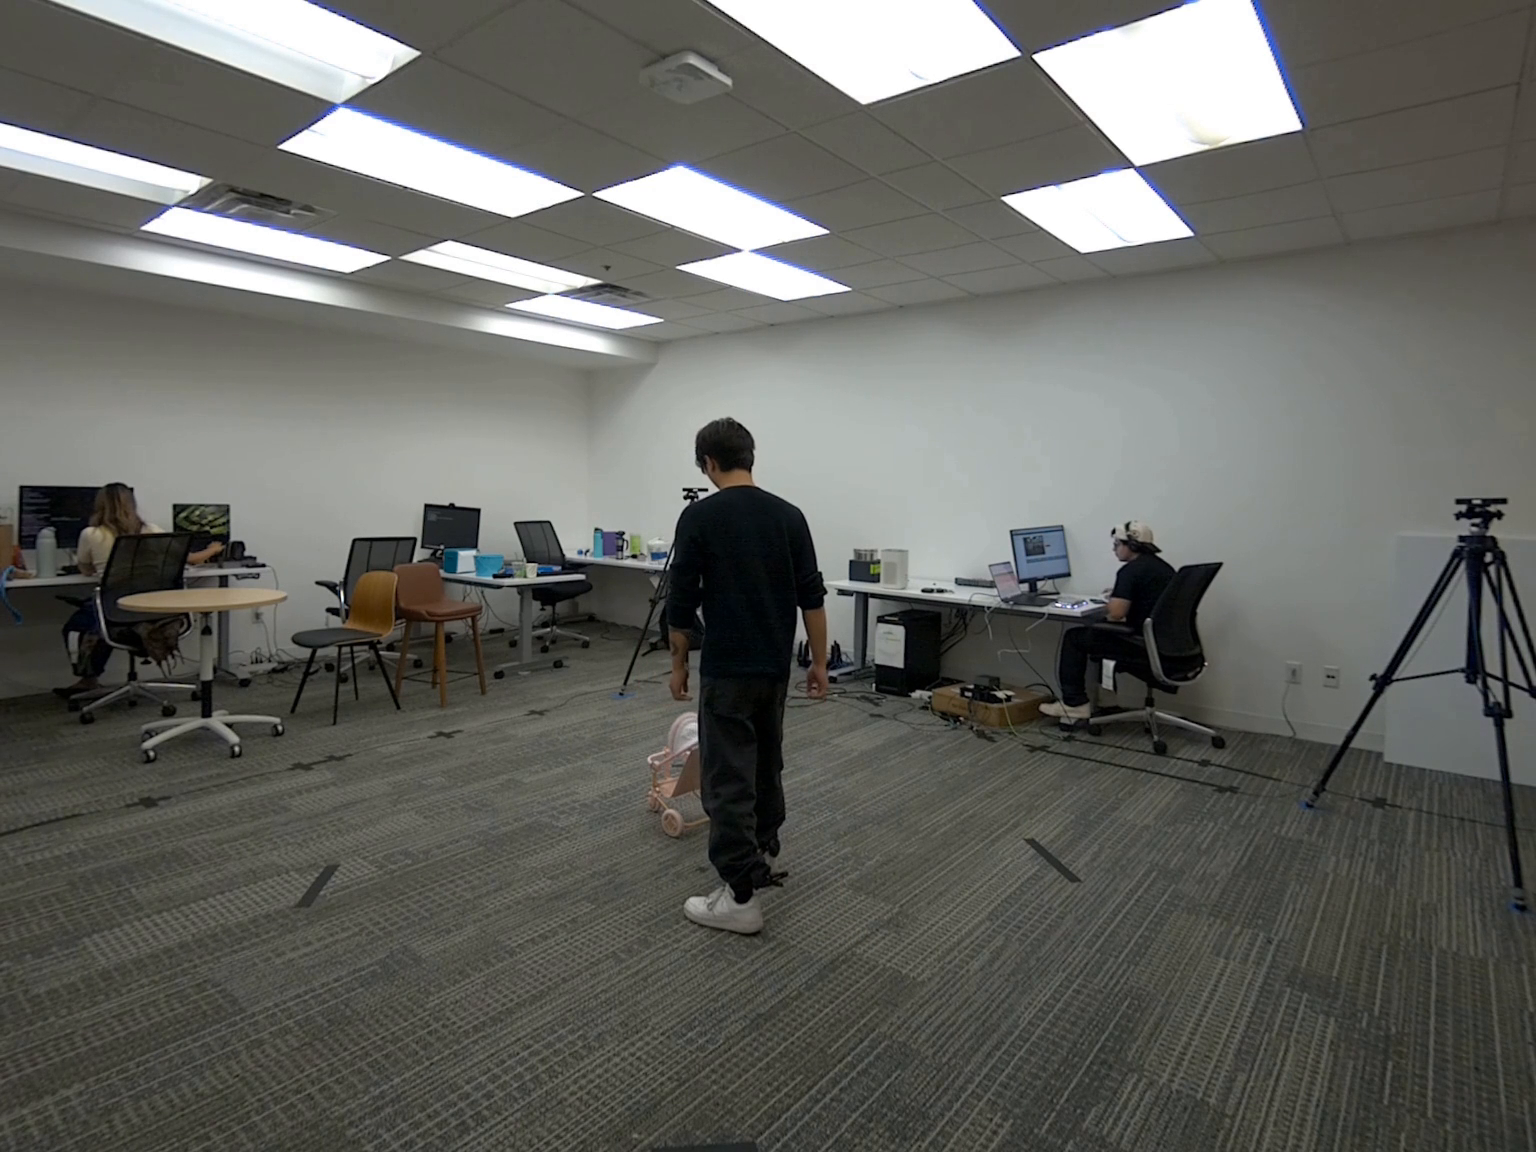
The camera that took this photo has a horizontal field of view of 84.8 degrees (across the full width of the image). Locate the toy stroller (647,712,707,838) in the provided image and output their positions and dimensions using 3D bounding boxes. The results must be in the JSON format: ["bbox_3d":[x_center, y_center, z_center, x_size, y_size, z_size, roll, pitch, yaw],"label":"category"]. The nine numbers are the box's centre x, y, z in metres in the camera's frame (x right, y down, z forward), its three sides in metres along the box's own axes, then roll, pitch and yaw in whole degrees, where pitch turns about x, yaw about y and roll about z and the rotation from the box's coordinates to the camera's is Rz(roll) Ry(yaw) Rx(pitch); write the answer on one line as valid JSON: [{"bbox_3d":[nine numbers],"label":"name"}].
[{"bbox_3d":[-0.356,0.800,3.526,0.273,0.529,0.355,-2,20,-43],"label":"toy stroller"}]
